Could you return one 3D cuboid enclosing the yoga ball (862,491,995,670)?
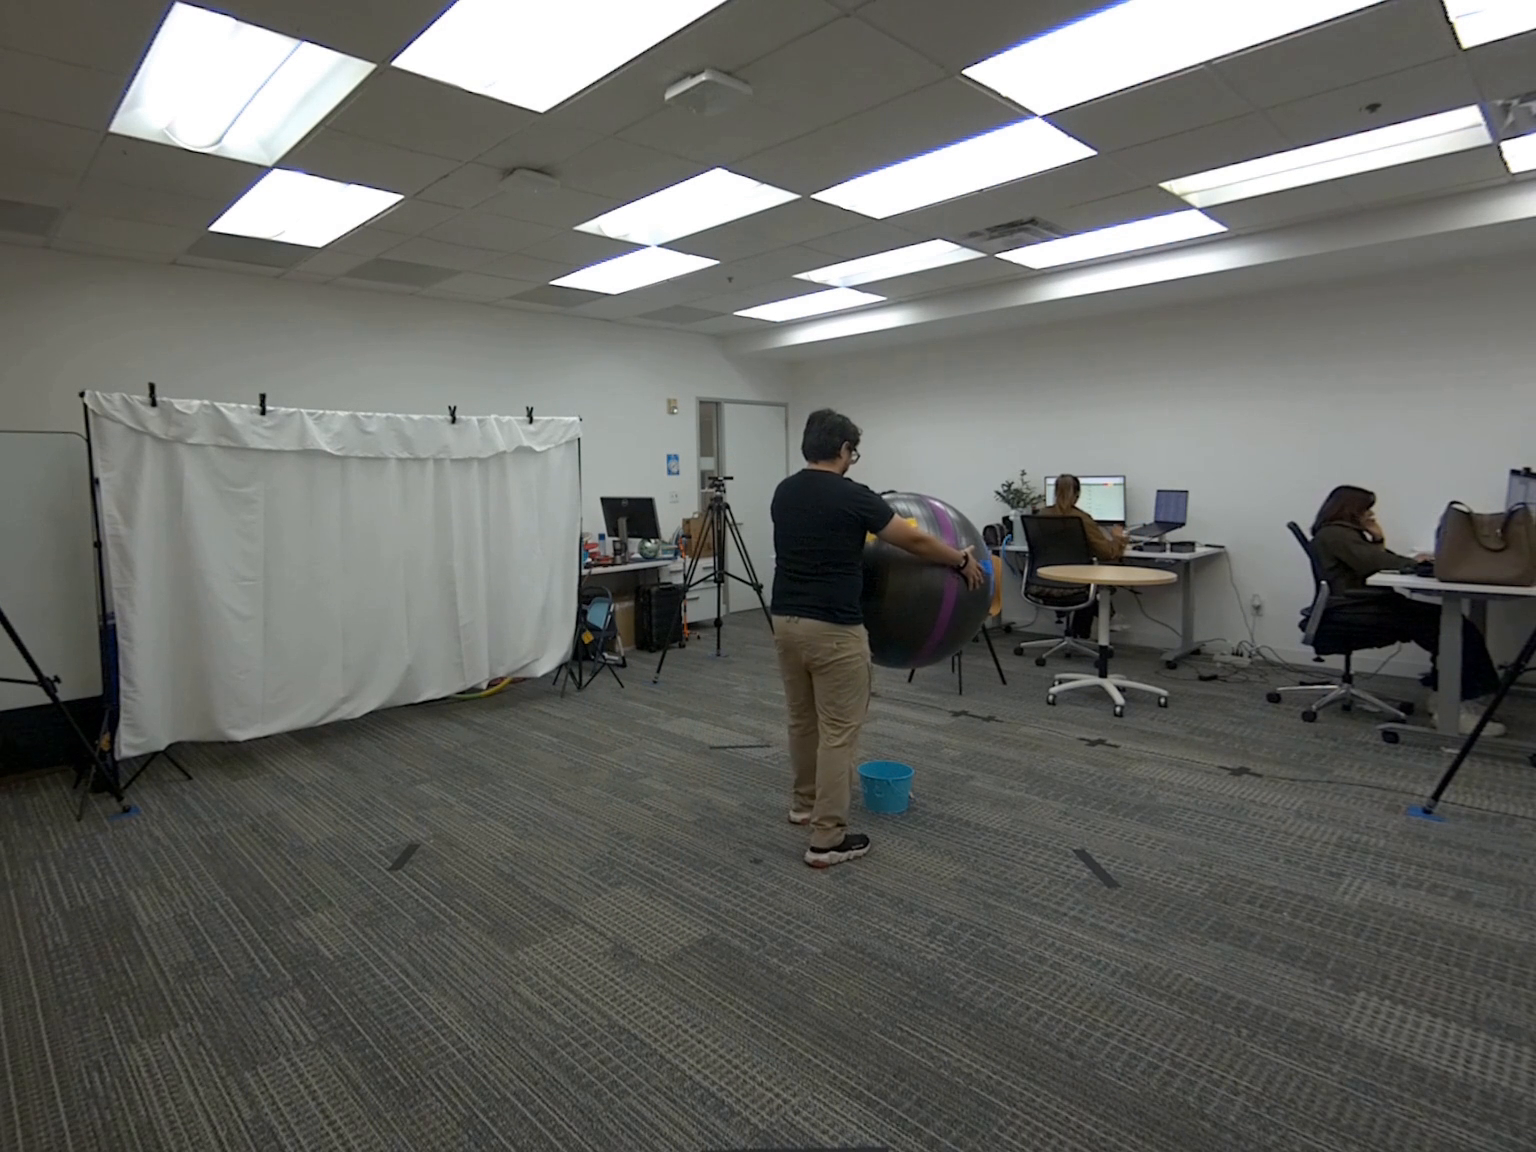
[{"bbox_3d":[0.596,0.026,3.698,0.757,0.755,0.762,-1,5,-2],"label":"yoga ball"}]
